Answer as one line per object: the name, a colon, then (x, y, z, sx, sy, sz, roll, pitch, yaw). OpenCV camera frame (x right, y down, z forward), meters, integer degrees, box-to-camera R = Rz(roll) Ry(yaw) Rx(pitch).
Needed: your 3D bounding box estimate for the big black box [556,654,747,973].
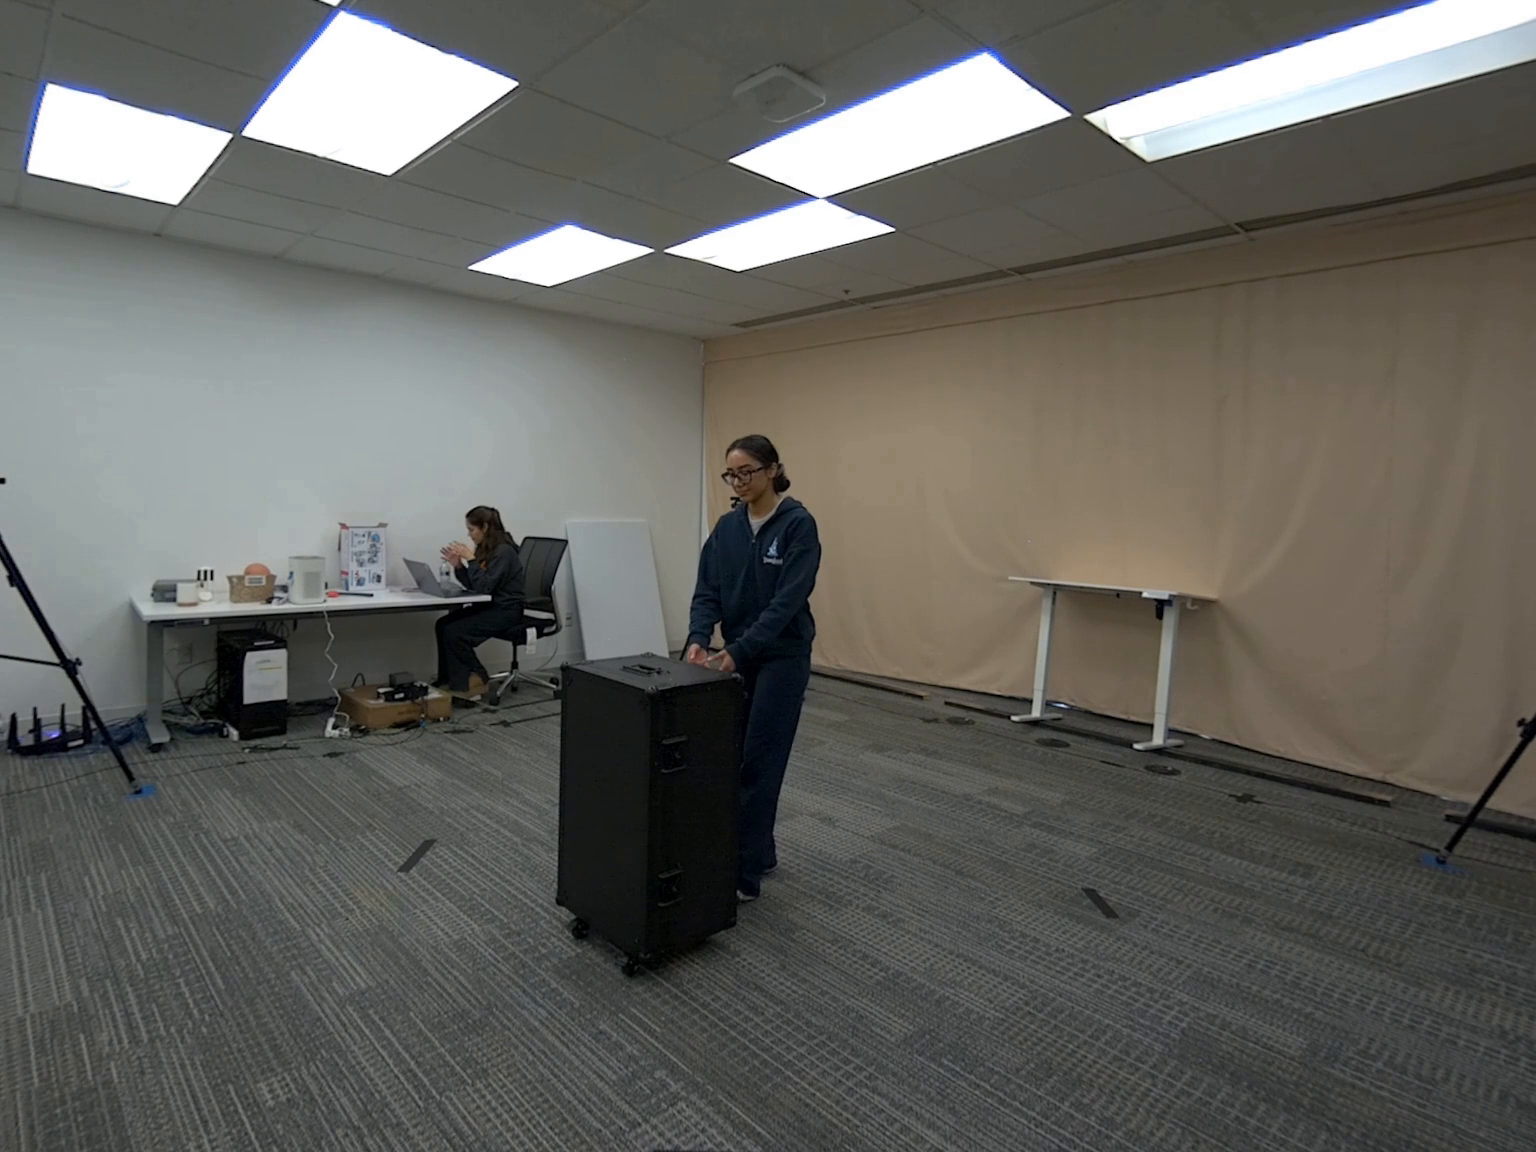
big black box: (-0.382, 0.725, 2.648, 0.387, 0.860, 0.534, 1, 2, -44)
